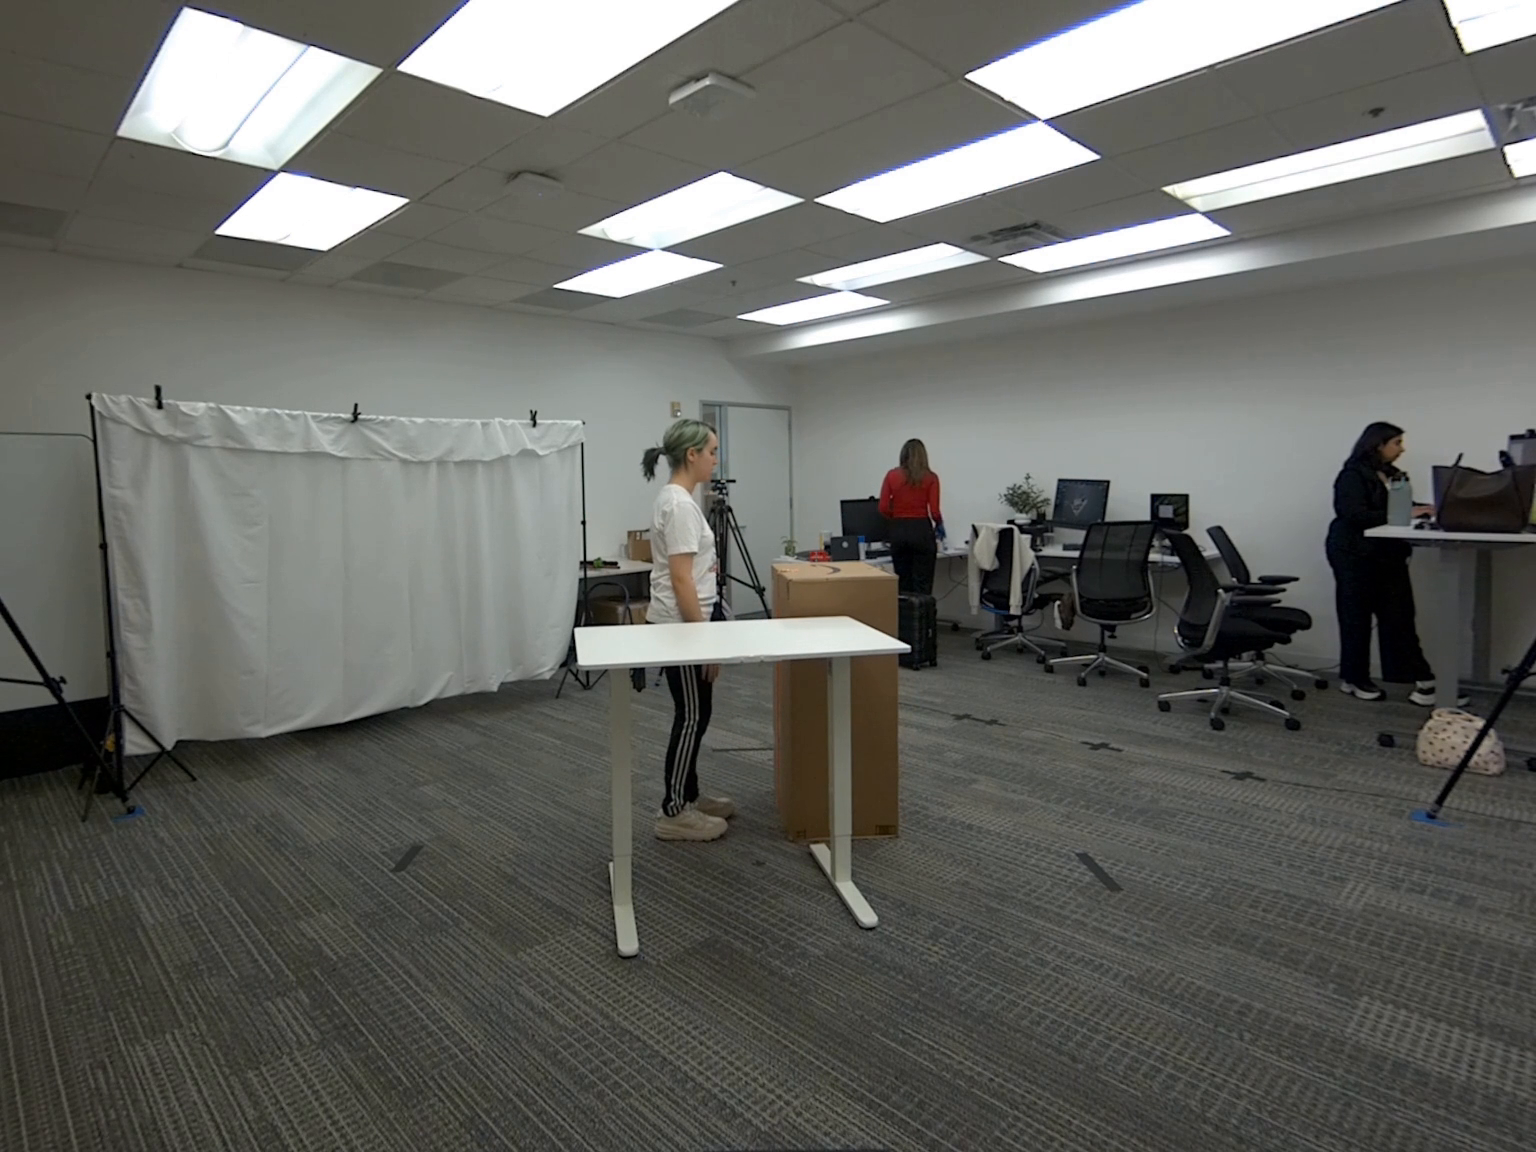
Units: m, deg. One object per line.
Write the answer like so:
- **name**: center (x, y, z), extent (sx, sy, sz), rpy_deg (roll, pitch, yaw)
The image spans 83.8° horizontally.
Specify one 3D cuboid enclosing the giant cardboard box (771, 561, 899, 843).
- **giant cardboard box**: center (0.258, 0.483, 3.551), extent (0.444, 1.023, 0.589), rpy_deg (-1, 5, -6)
